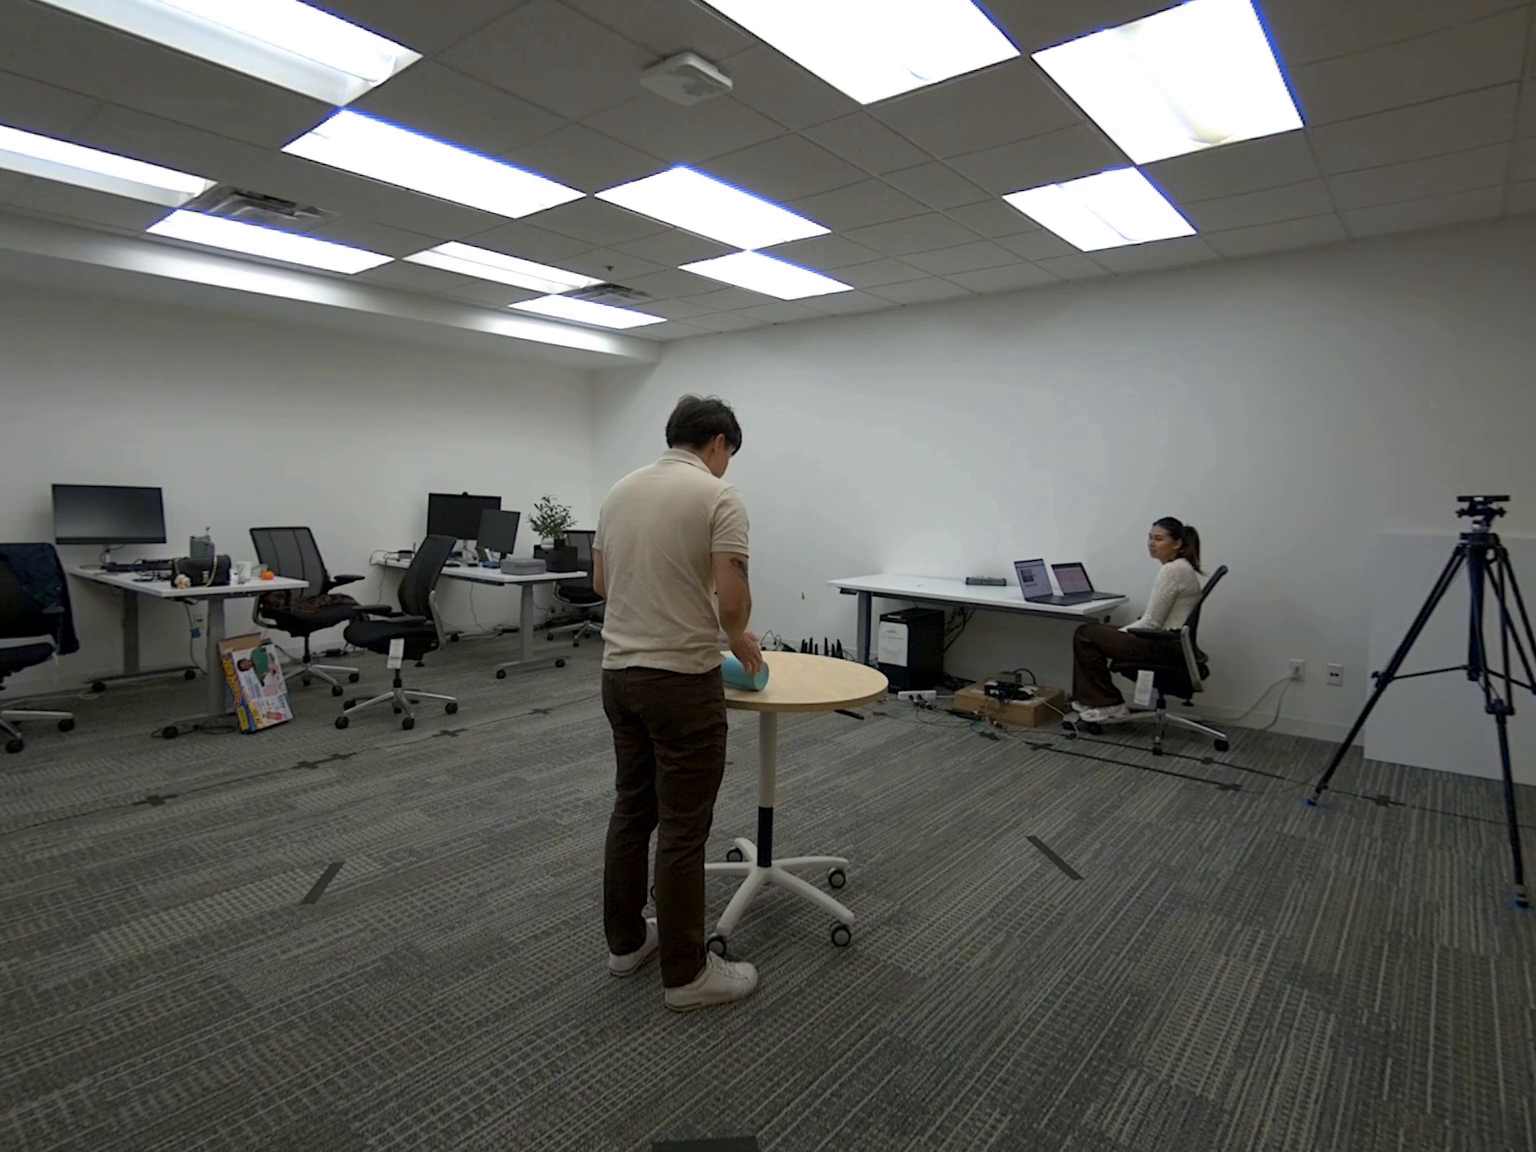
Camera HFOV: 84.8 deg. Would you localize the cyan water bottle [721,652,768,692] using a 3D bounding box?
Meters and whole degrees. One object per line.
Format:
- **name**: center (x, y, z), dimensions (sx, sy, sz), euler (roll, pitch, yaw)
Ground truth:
- **cyan water bottle**: center (-0.139, 0.283, 2.628), dimensions (0.293, 0.092, 0.090), euler (6, 7, 34)
